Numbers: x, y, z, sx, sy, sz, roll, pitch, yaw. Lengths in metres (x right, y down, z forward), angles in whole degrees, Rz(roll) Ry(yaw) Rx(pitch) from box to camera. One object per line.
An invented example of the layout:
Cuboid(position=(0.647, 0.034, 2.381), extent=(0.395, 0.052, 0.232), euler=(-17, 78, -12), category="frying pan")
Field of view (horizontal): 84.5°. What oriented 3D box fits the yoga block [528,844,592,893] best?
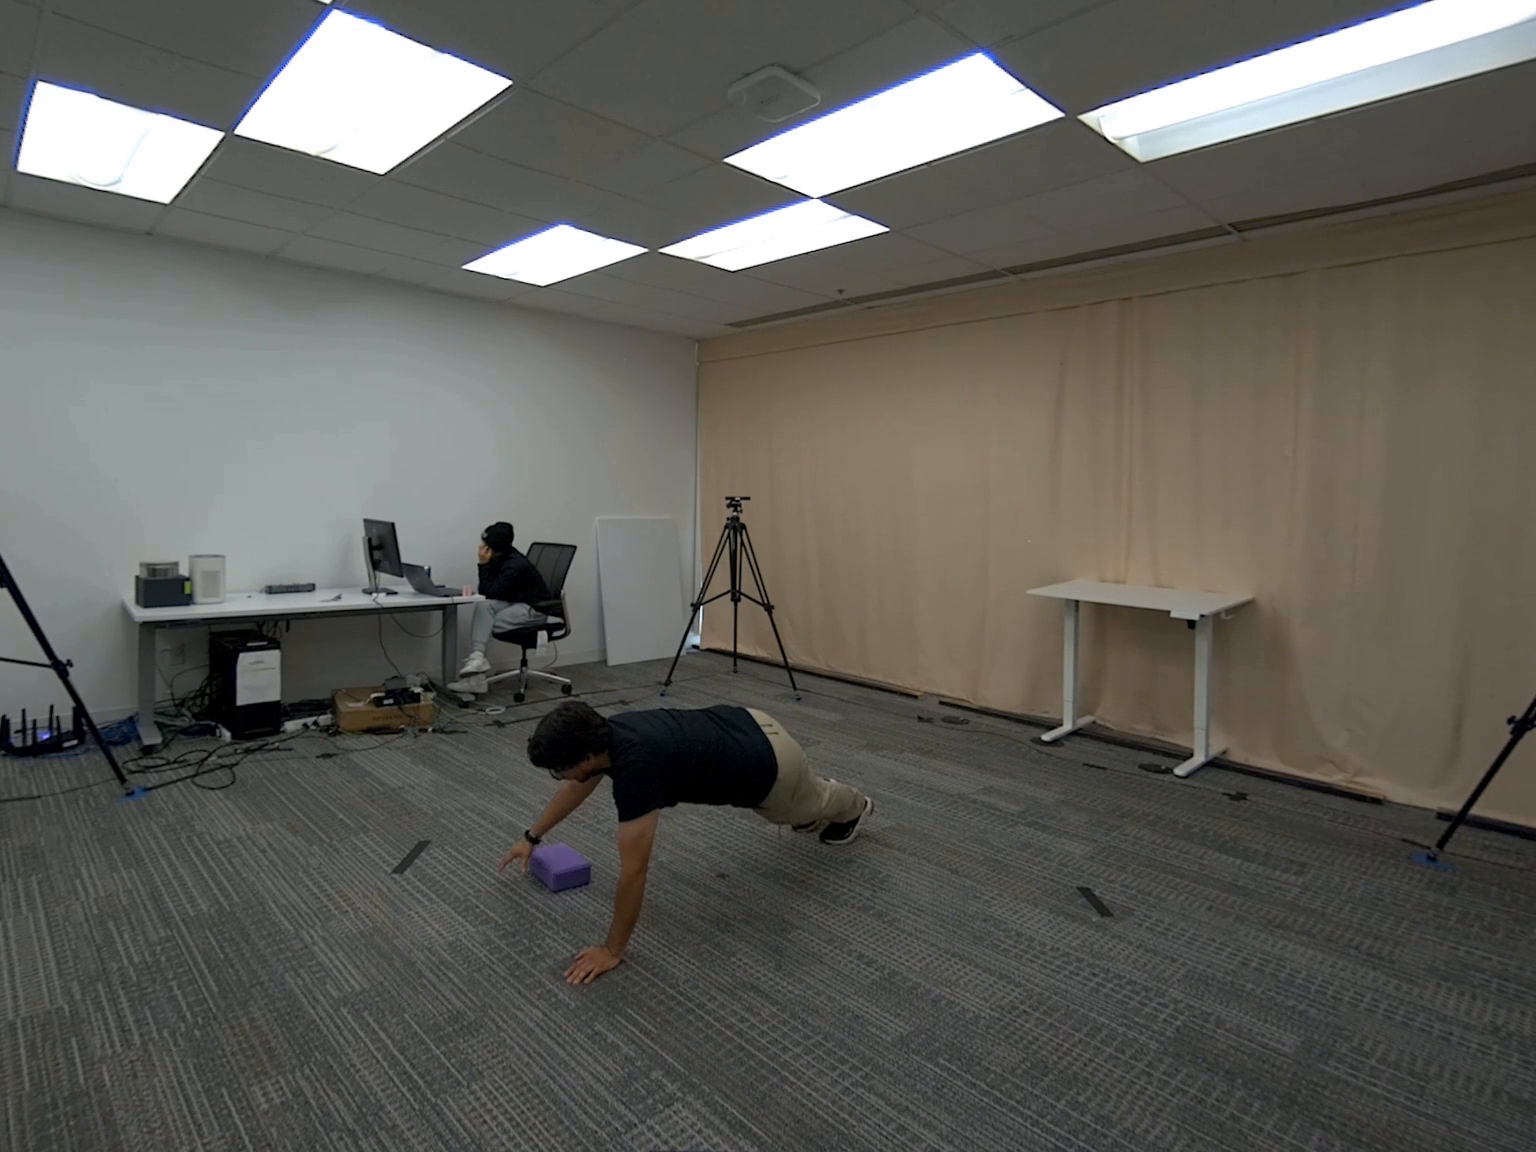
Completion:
Cuboid(position=(-0.763, 1.048, 3.066), extent=(0.146, 0.076, 0.235), euler=(-2, 6, -38), category="yoga block")
